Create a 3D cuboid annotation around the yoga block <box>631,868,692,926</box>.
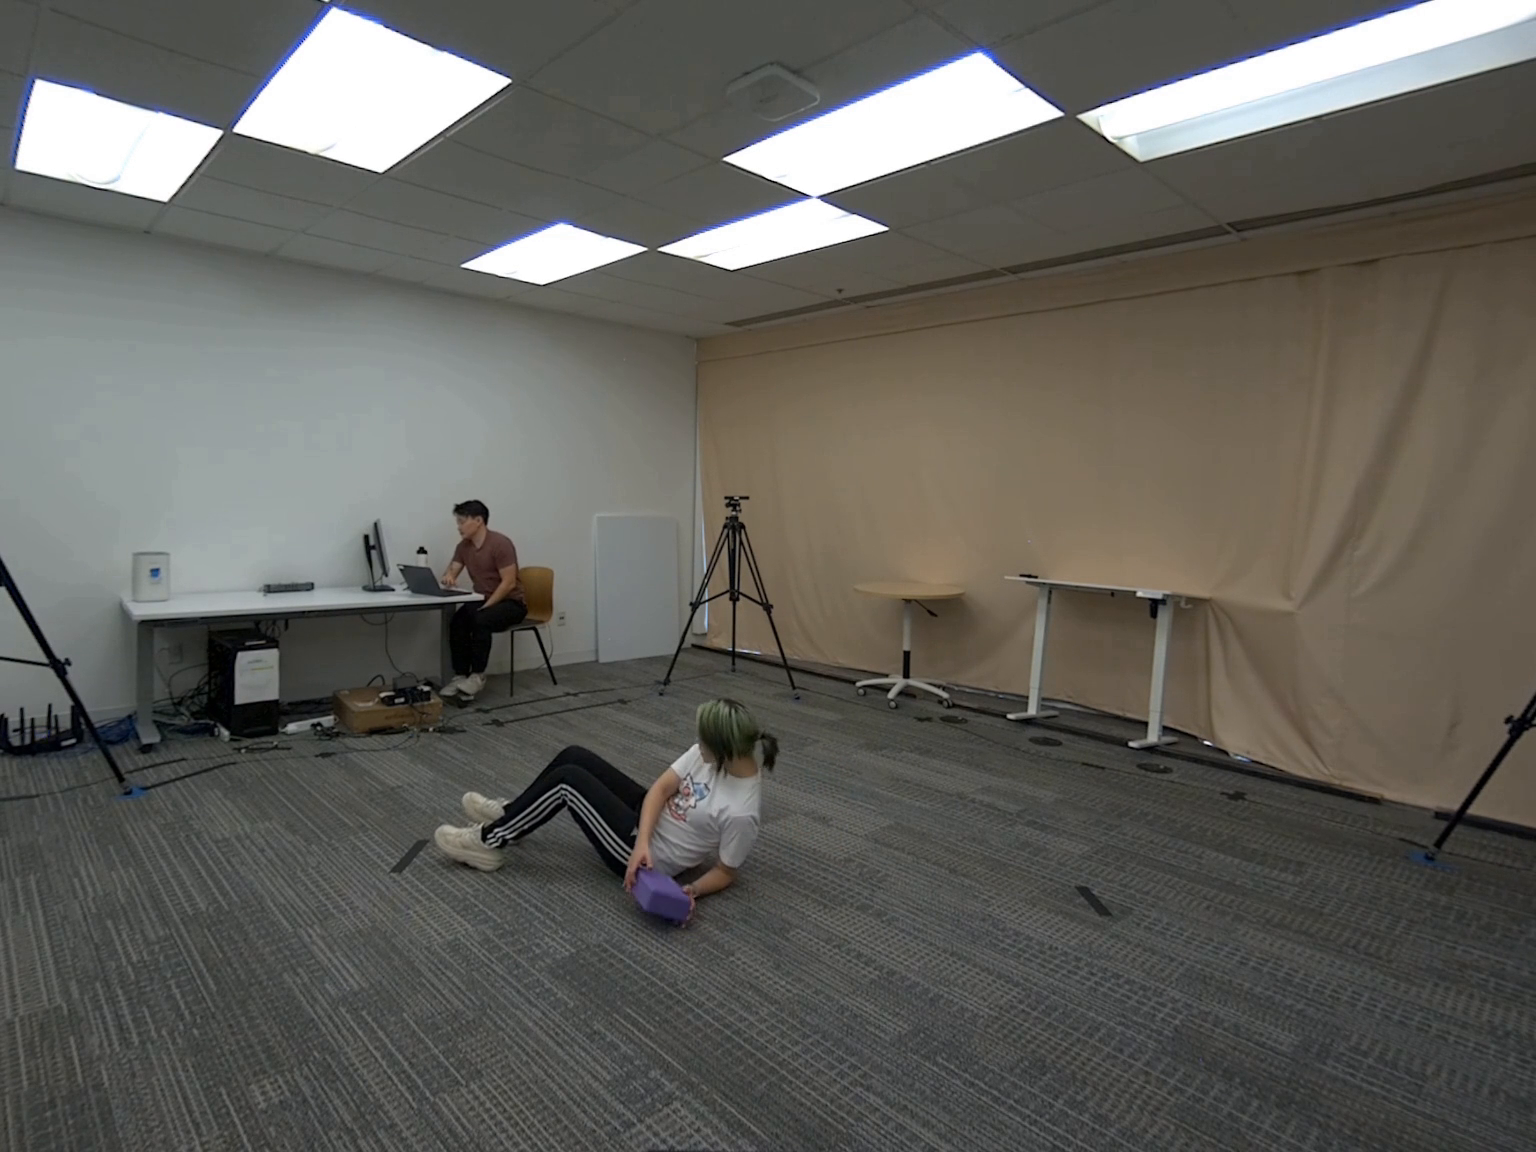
[{"bbox_3d":[-0.373,1.044,2.776,0.146,0.077,0.233,20,-7,-20],"label":"yoga block"}]
